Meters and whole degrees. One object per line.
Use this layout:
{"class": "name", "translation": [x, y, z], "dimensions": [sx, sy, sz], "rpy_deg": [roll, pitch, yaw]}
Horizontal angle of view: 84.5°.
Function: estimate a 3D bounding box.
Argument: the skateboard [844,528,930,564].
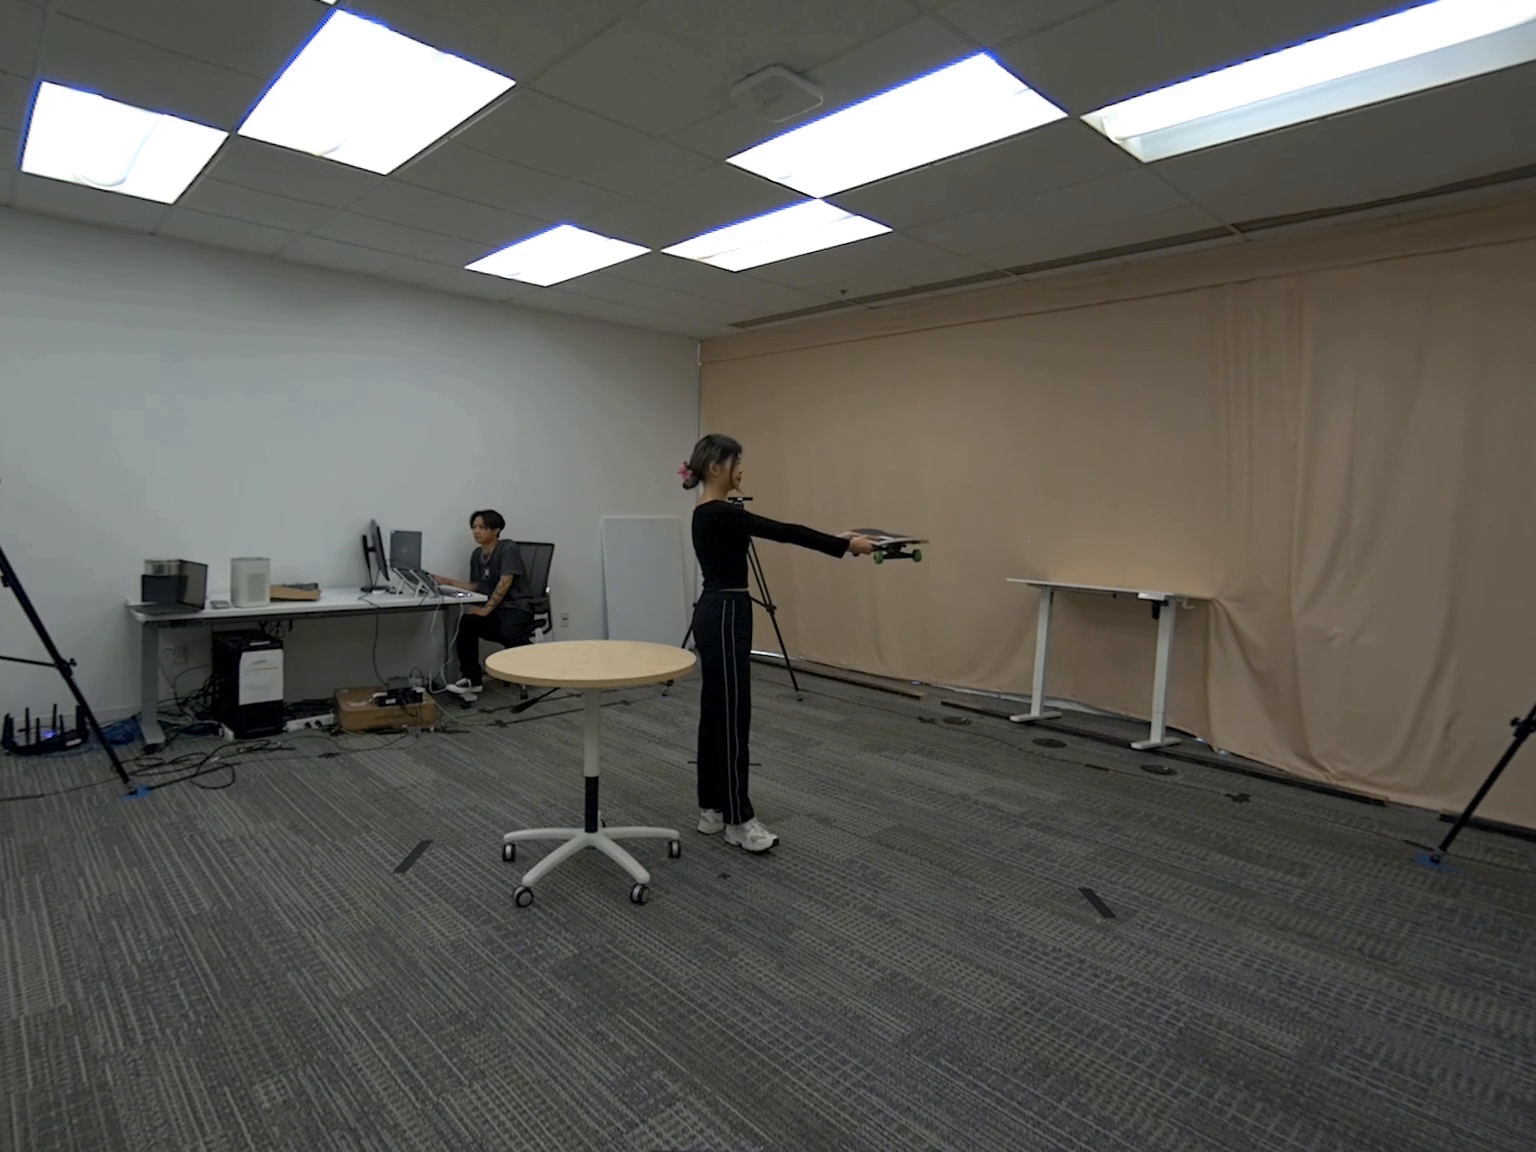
{"class": "skateboard", "translation": [0.466, -0.125, 3.483], "dimensions": [0.193, 0.110, 0.791], "rpy_deg": [-3, 6, -6]}
